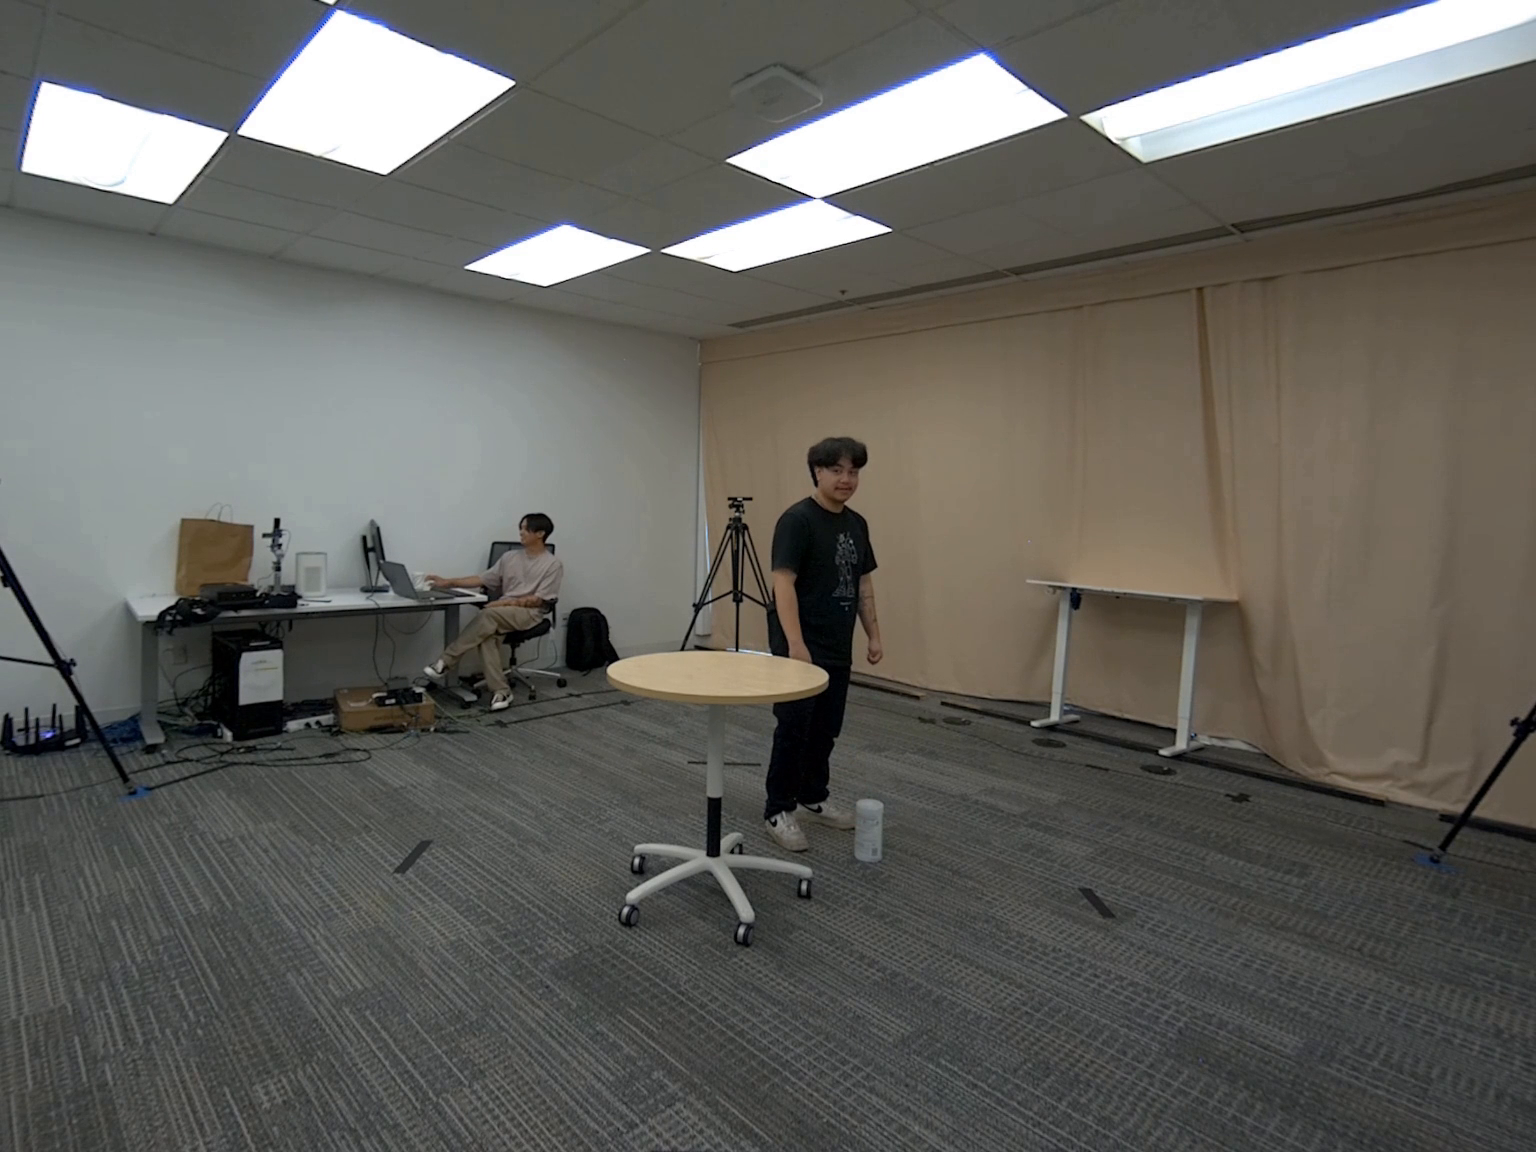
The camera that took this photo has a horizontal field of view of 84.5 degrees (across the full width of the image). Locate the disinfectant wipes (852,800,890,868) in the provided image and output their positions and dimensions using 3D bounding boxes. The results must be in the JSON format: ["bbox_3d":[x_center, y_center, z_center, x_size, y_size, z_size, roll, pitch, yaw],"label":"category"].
[{"bbox_3d":[0.397,1.001,3.292,0.118,0.217,0.118,1,0,-1],"label":"disinfectant wipes"}]
